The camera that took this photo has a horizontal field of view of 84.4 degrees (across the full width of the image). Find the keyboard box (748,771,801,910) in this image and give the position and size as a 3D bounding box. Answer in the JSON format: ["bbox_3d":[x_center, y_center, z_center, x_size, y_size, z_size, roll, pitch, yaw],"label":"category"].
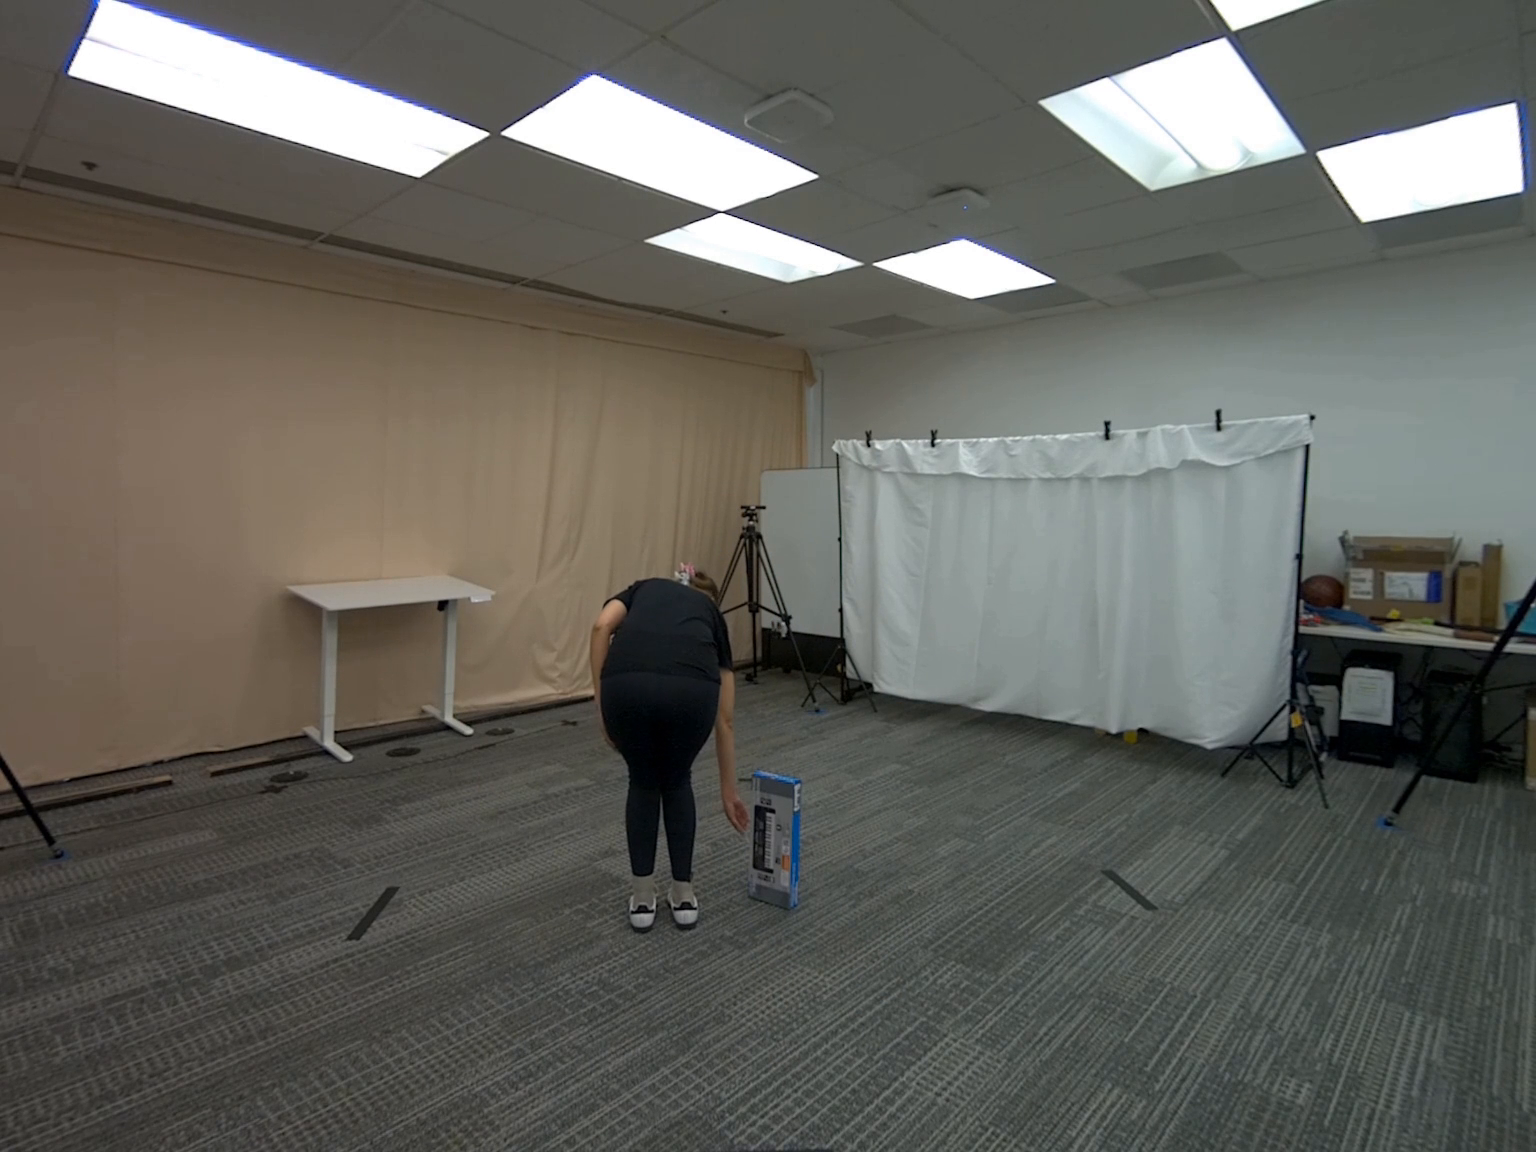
[{"bbox_3d":[0.027,0.927,2.964,0.181,0.437,0.057,2,0,31],"label":"keyboard box"}]
